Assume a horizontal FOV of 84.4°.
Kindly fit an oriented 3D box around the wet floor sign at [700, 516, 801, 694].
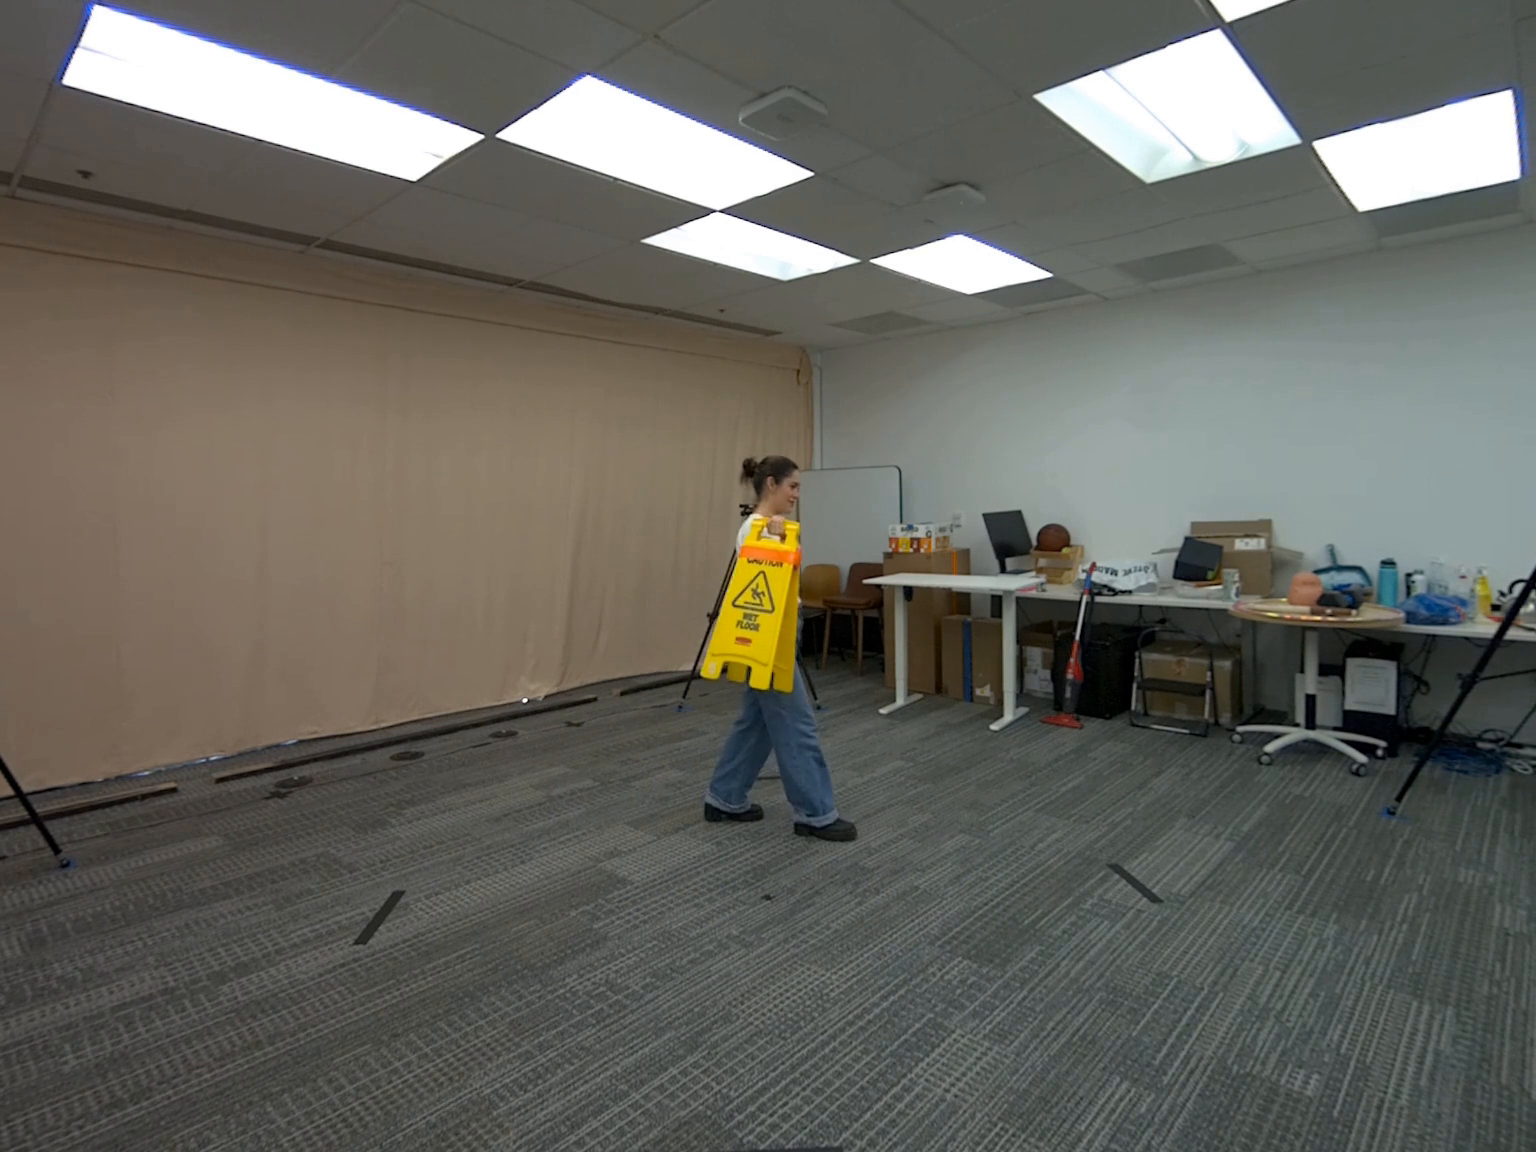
[{"bbox_3d":[-0.014,0.094,3.252,0.289,0.648,0.281,8,-7,23],"label":"wet floor sign"}]
